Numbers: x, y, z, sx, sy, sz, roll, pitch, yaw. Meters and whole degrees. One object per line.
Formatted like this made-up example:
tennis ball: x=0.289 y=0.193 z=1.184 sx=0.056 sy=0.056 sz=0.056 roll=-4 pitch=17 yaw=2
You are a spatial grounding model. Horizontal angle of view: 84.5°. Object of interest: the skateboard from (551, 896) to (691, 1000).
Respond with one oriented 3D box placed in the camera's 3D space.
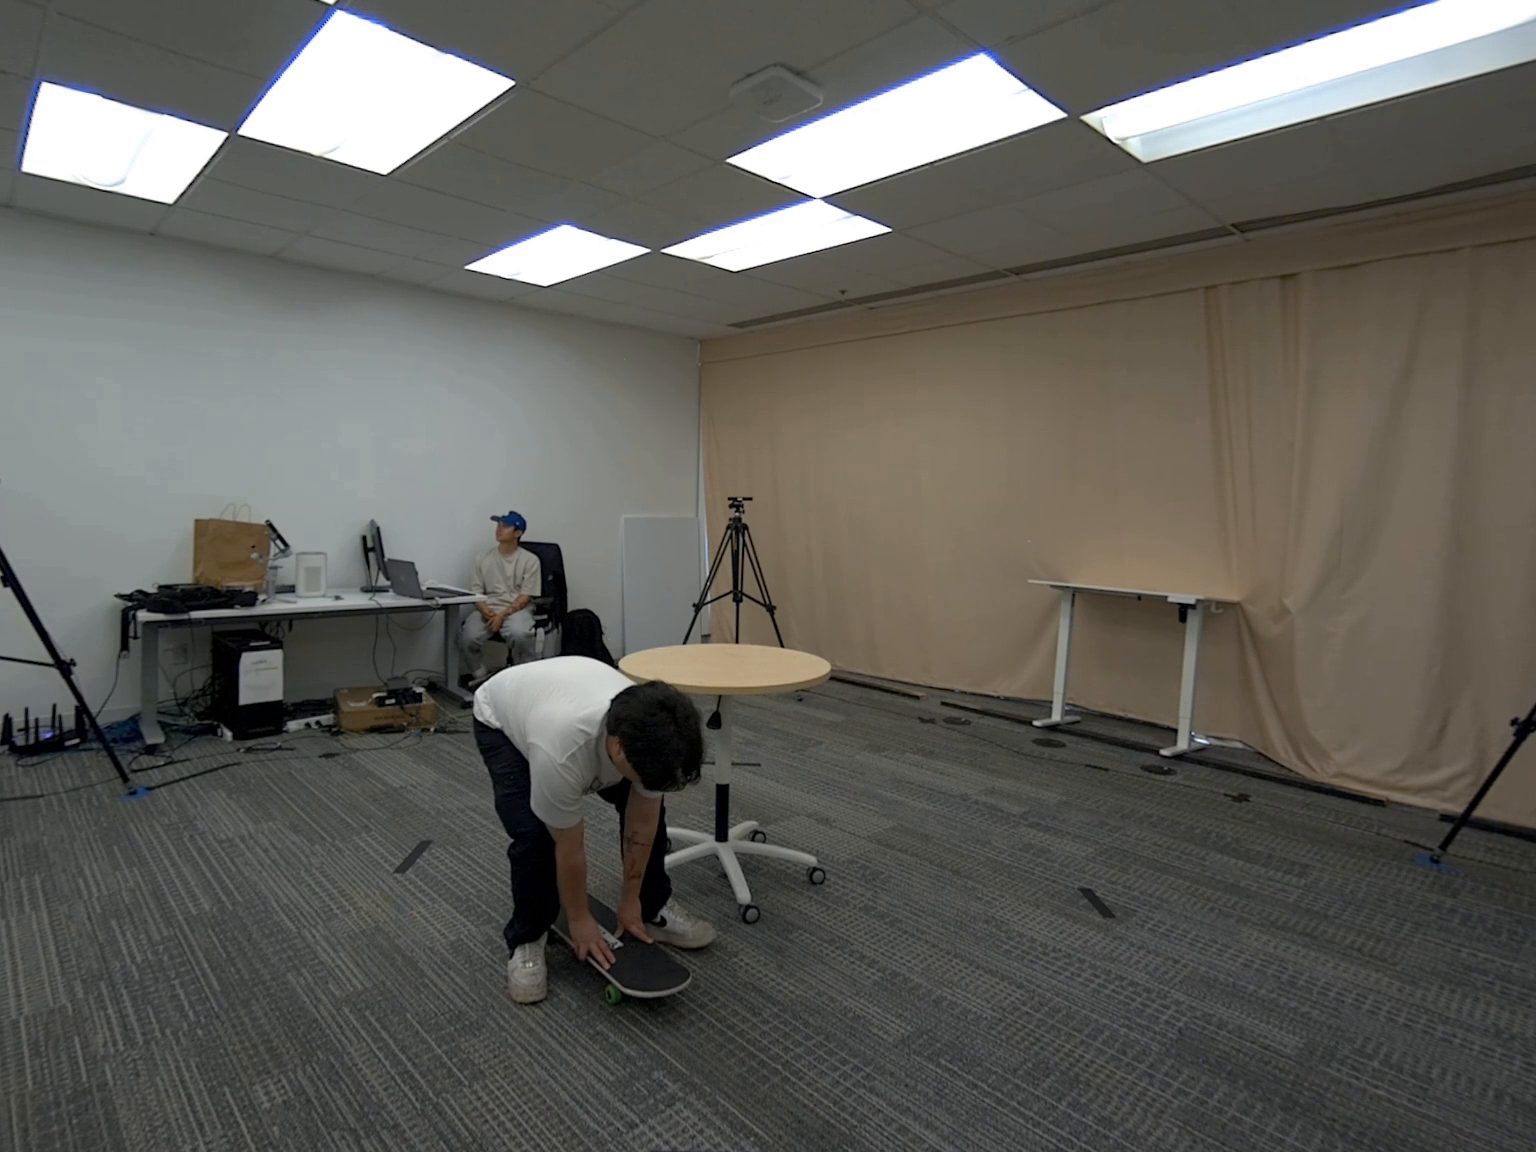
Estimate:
skateboard: x=-0.501 y=1.105 z=2.509 sx=0.189 sy=0.110 sz=0.806 roll=-2 pitch=7 yaw=-40
